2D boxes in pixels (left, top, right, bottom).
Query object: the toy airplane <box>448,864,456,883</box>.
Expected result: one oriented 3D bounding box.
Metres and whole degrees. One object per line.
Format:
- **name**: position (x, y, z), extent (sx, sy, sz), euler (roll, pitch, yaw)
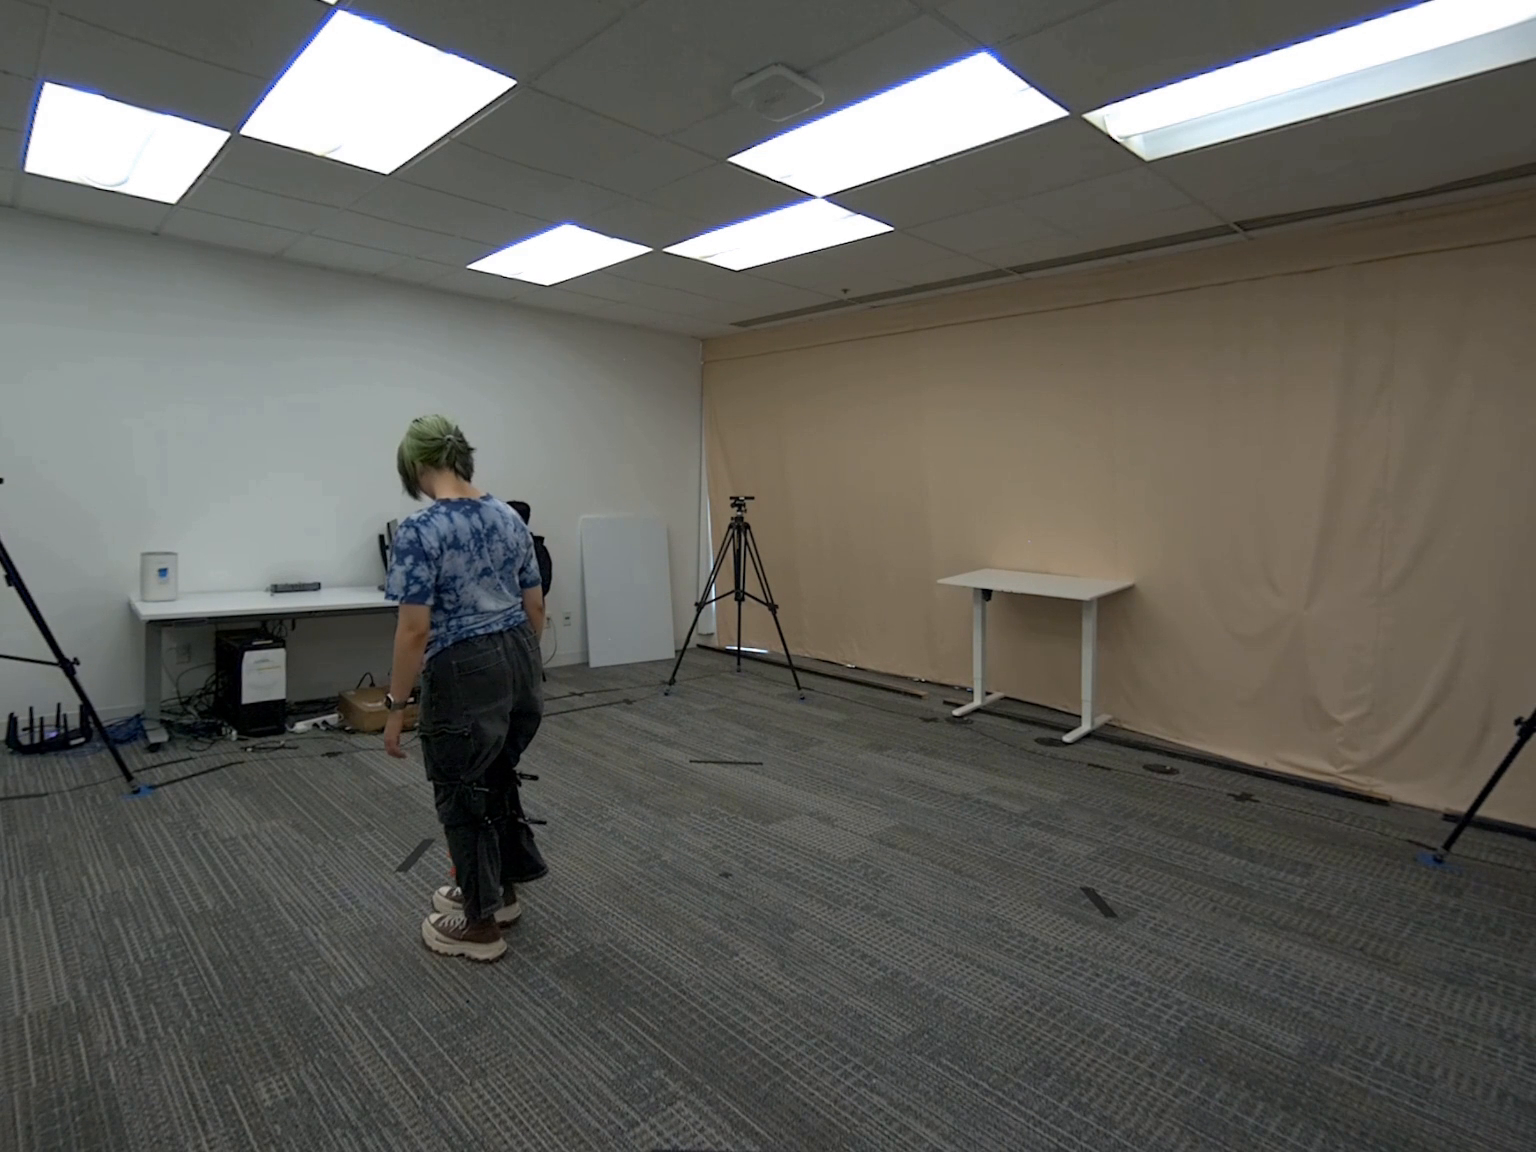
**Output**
- **toy airplane**: position (-0.981, 1.034, 2.929), extent (0.246, 0.156, 0.264), euler (0, 4, -26)
